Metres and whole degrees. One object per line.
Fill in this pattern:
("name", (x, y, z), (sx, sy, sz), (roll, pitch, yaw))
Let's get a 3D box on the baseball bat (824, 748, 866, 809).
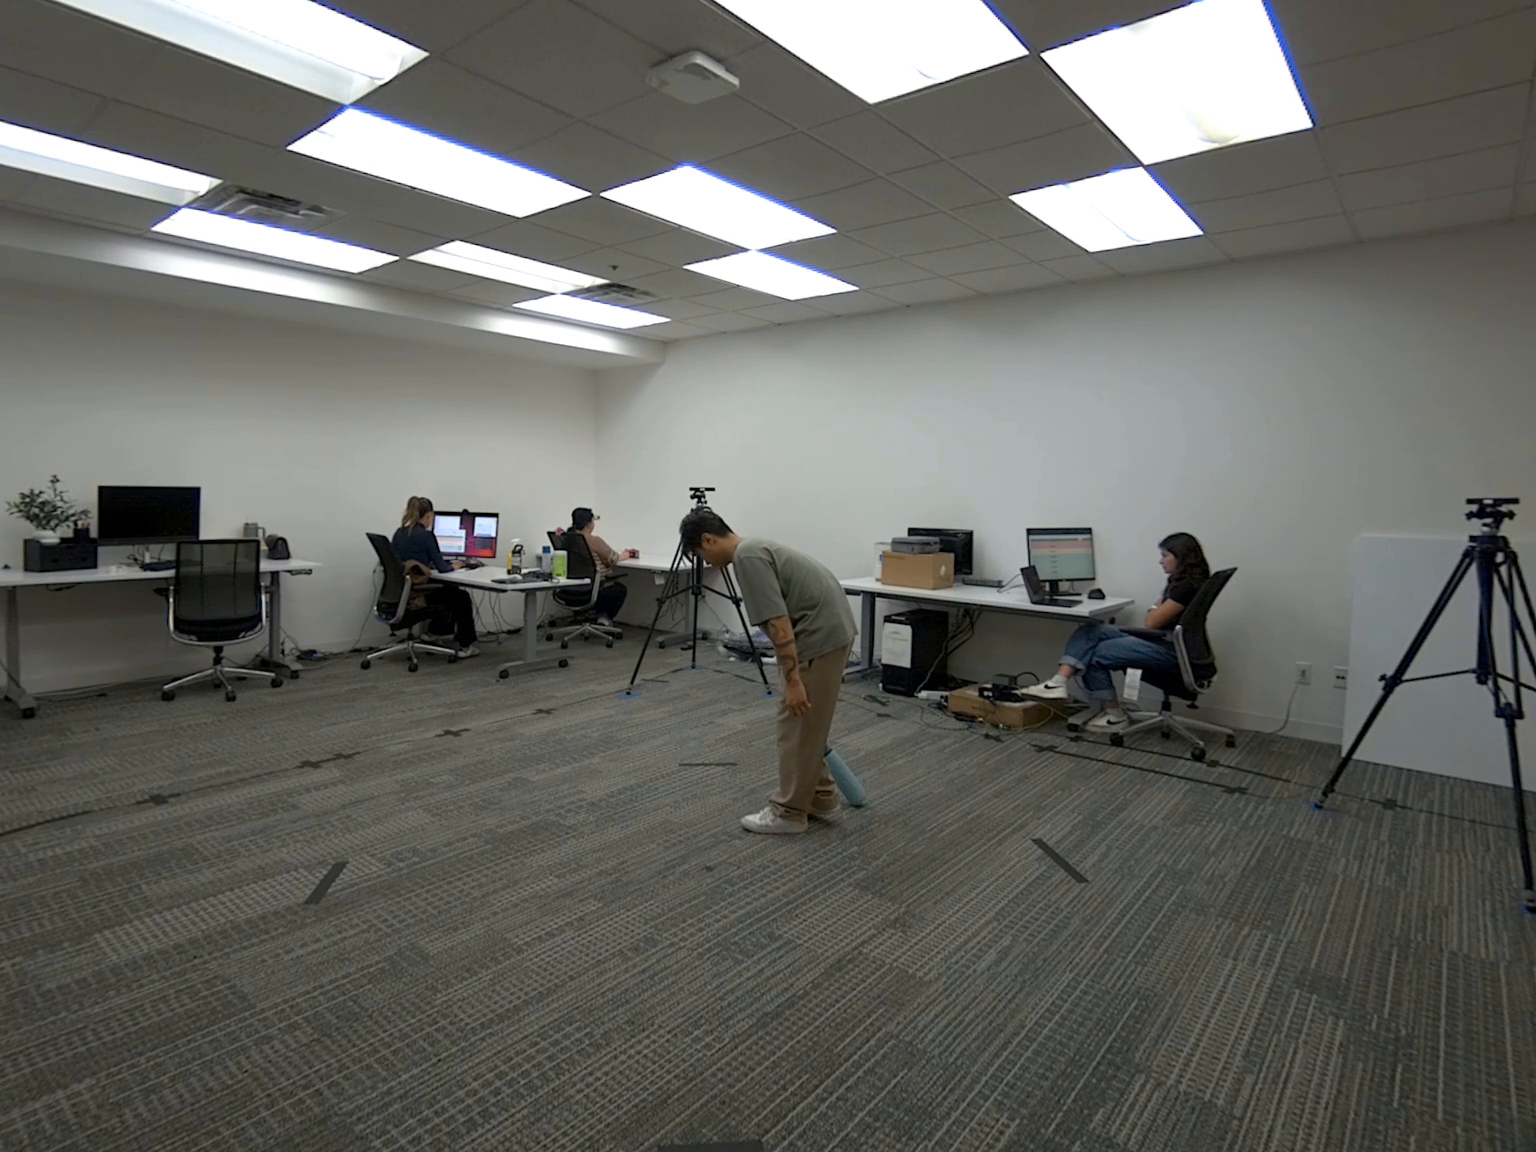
("baseball bat", (0.241, 0.778, 3.798), (0.089, 0.548, 0.088), (-36, -6, -5))
